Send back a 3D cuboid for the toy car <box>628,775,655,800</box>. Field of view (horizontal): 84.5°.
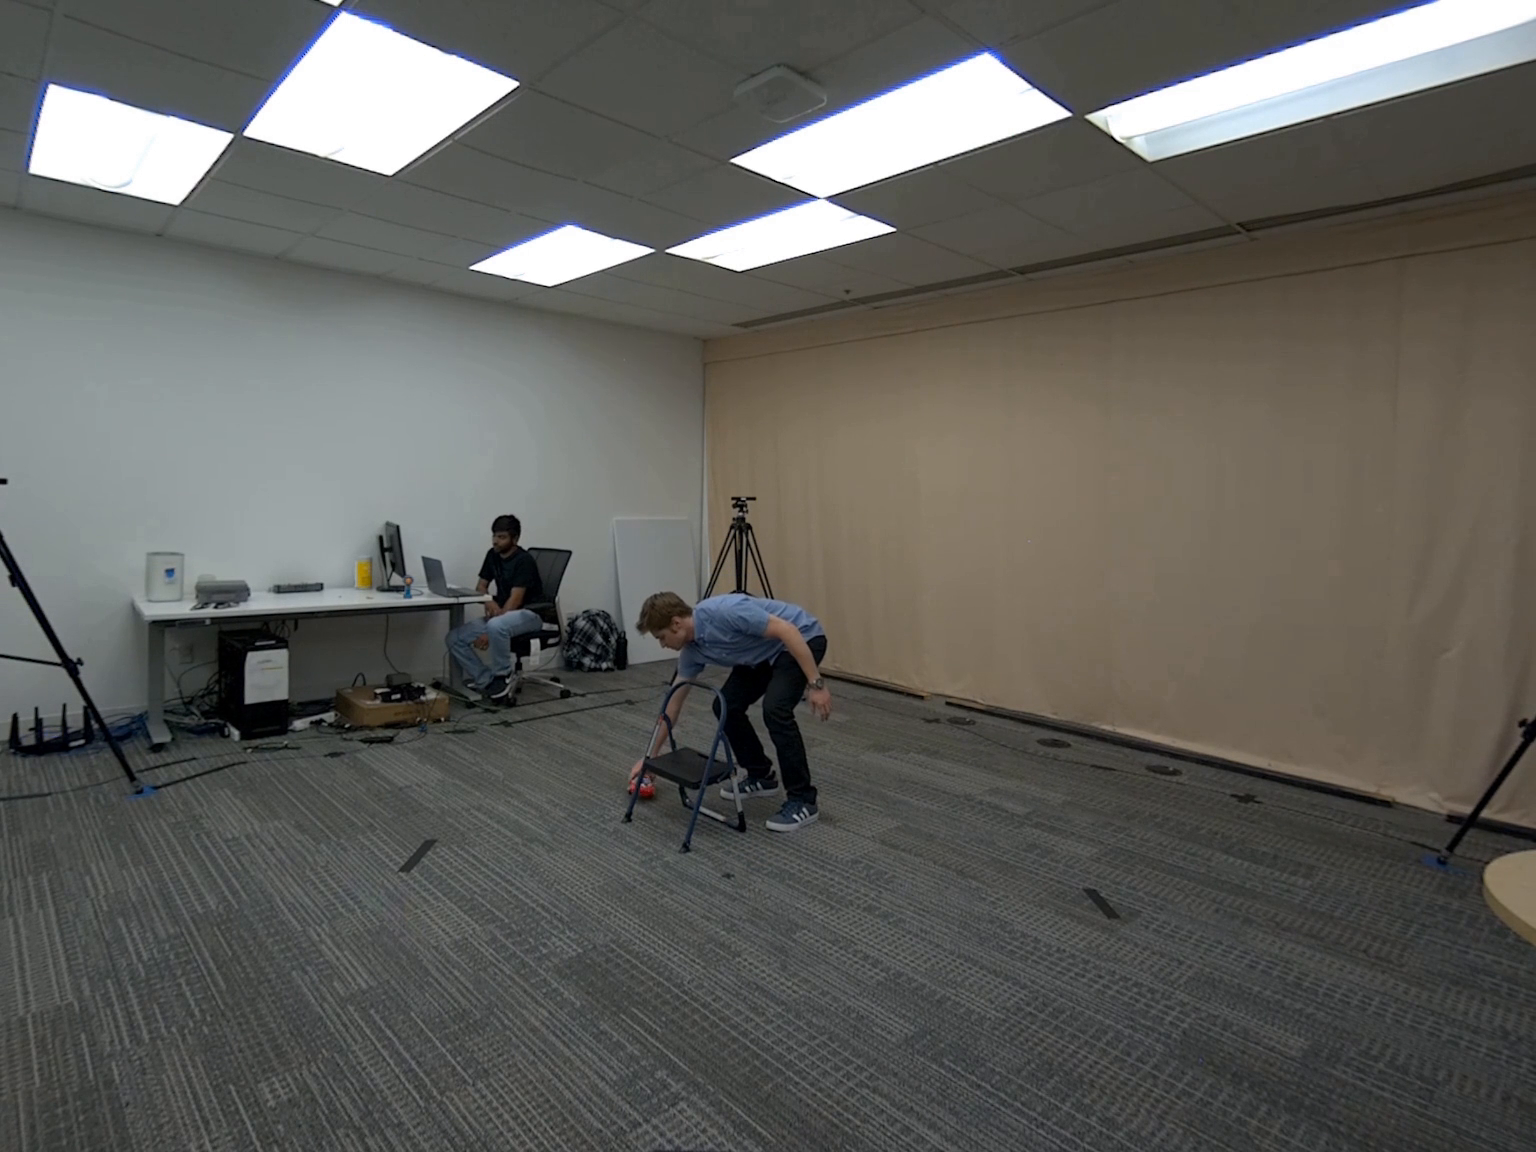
[{"bbox_3d":[-0.594,0.962,3.959,0.129,0.082,0.259,9,18,-9],"label":"toy car"}]
